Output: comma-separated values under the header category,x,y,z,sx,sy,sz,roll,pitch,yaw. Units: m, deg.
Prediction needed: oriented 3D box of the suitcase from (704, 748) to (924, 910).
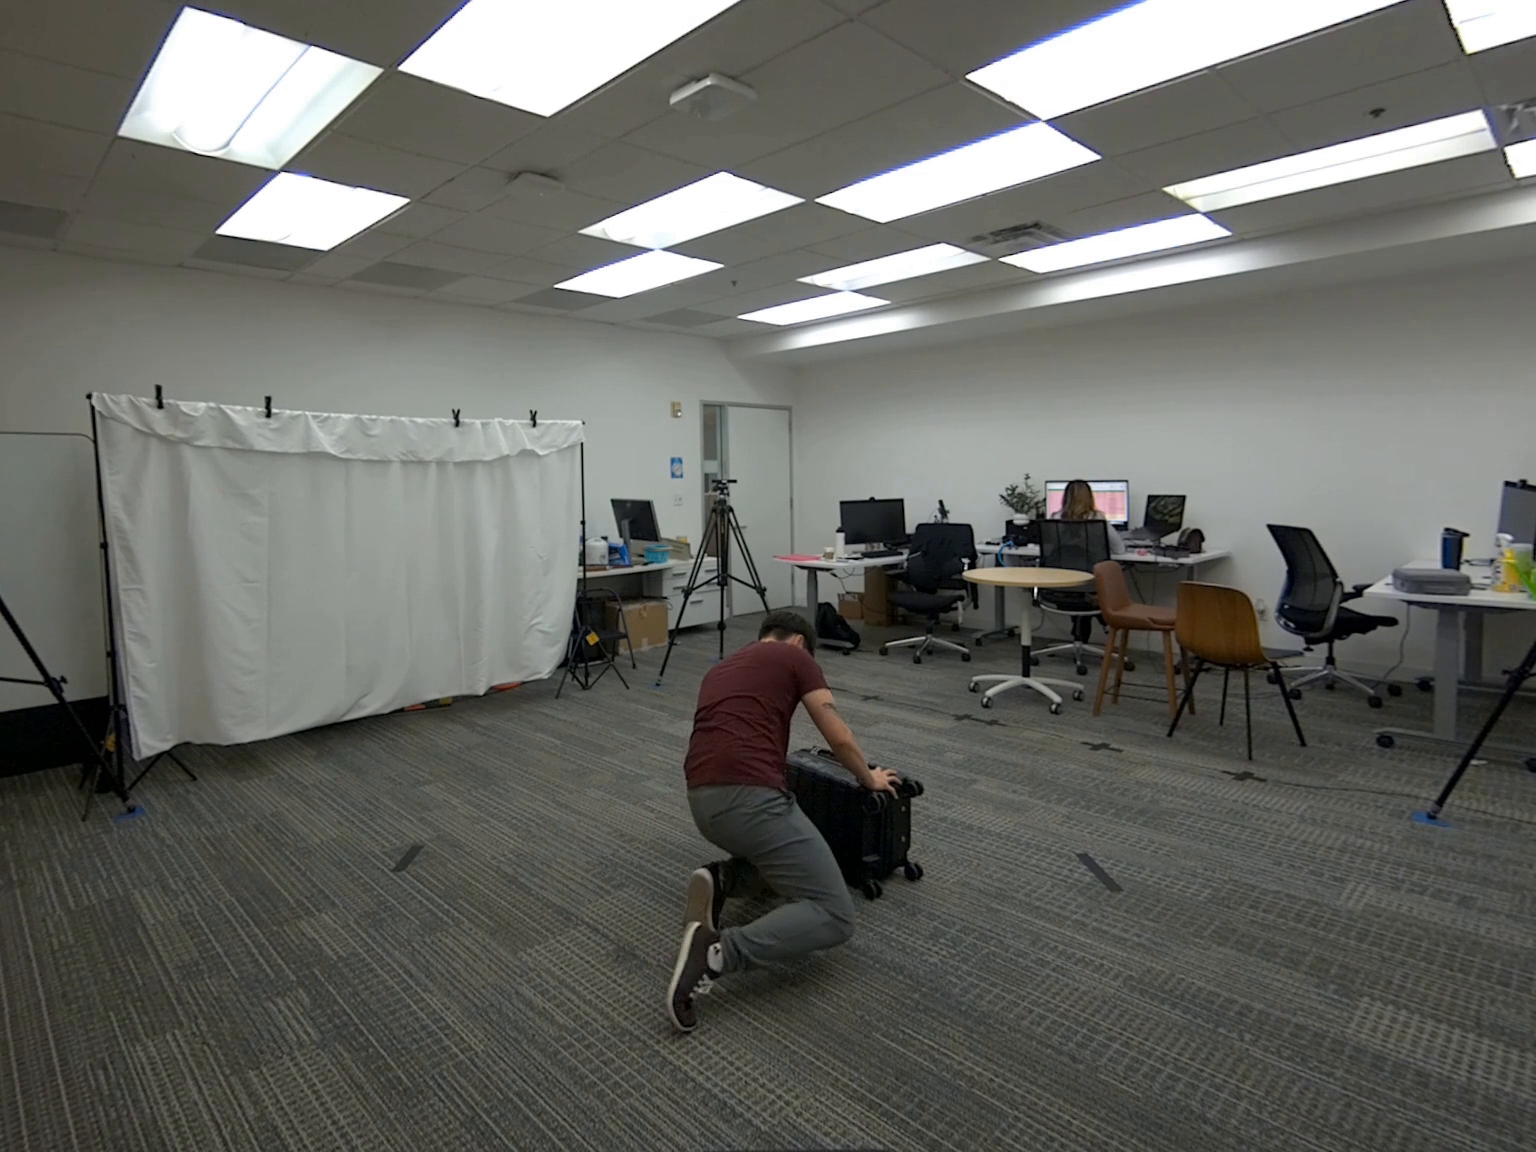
category,x,y,z,sx,sy,sz,roll,pitch,yaw
suitcase,0.137,0.838,3.267,0.250,0.383,1.008,-1,4,-40
